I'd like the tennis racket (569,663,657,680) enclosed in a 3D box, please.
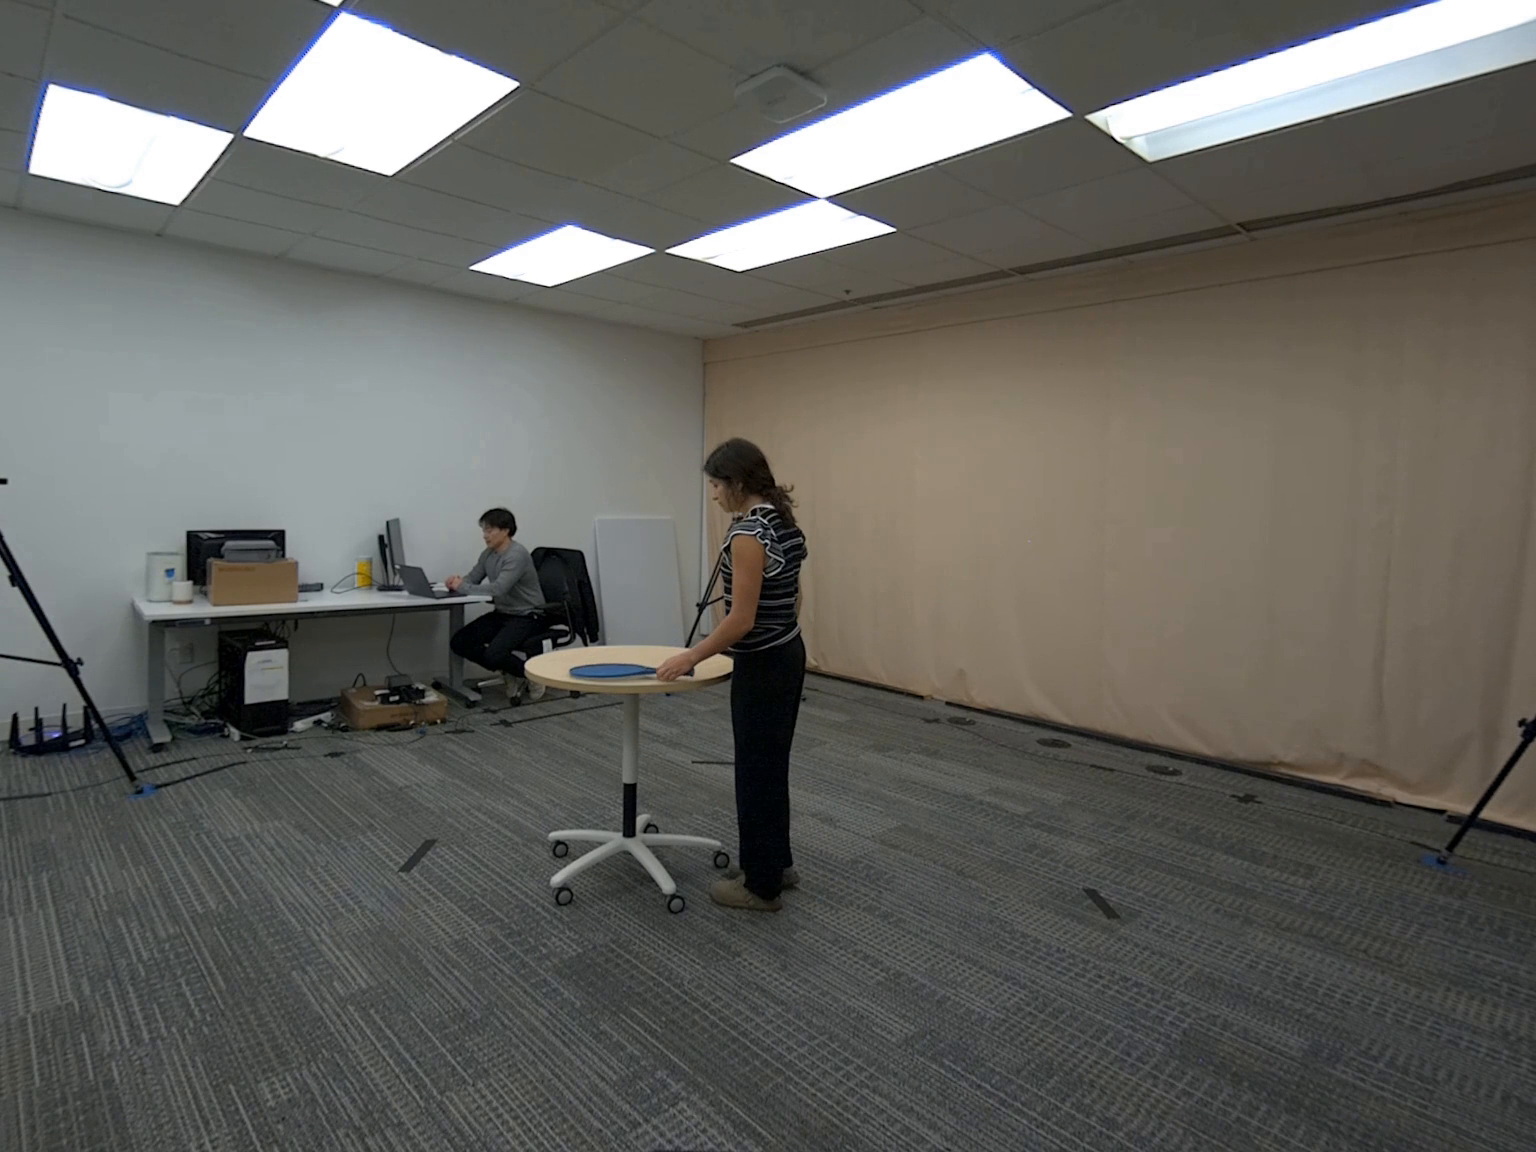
[{"bbox_3d":[-0.461,0.321,2.821,0.436,0.031,0.213,0,6,8],"label":"tennis racket"}]
